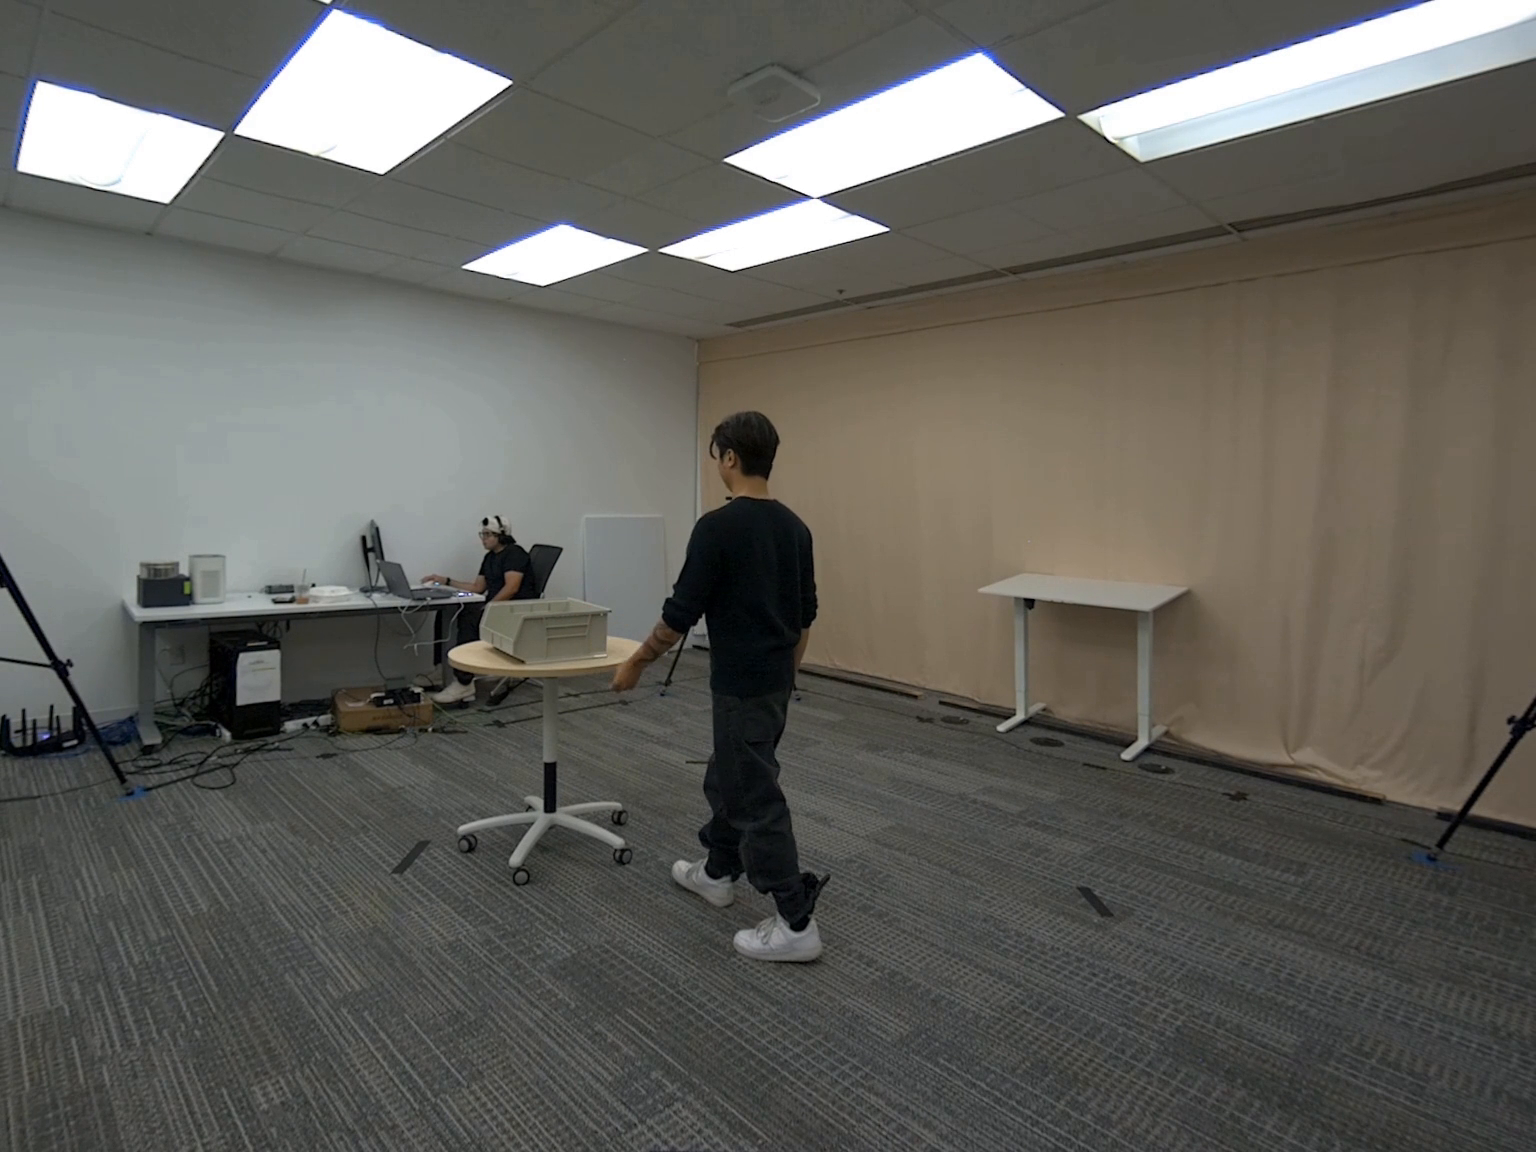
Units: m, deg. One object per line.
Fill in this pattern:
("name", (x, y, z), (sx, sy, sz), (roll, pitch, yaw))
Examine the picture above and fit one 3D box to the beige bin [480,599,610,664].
("beige bin", (-0.865, 0.205, 3.233), (0.369, 0.188, 0.432), (-1, 5, -35))
